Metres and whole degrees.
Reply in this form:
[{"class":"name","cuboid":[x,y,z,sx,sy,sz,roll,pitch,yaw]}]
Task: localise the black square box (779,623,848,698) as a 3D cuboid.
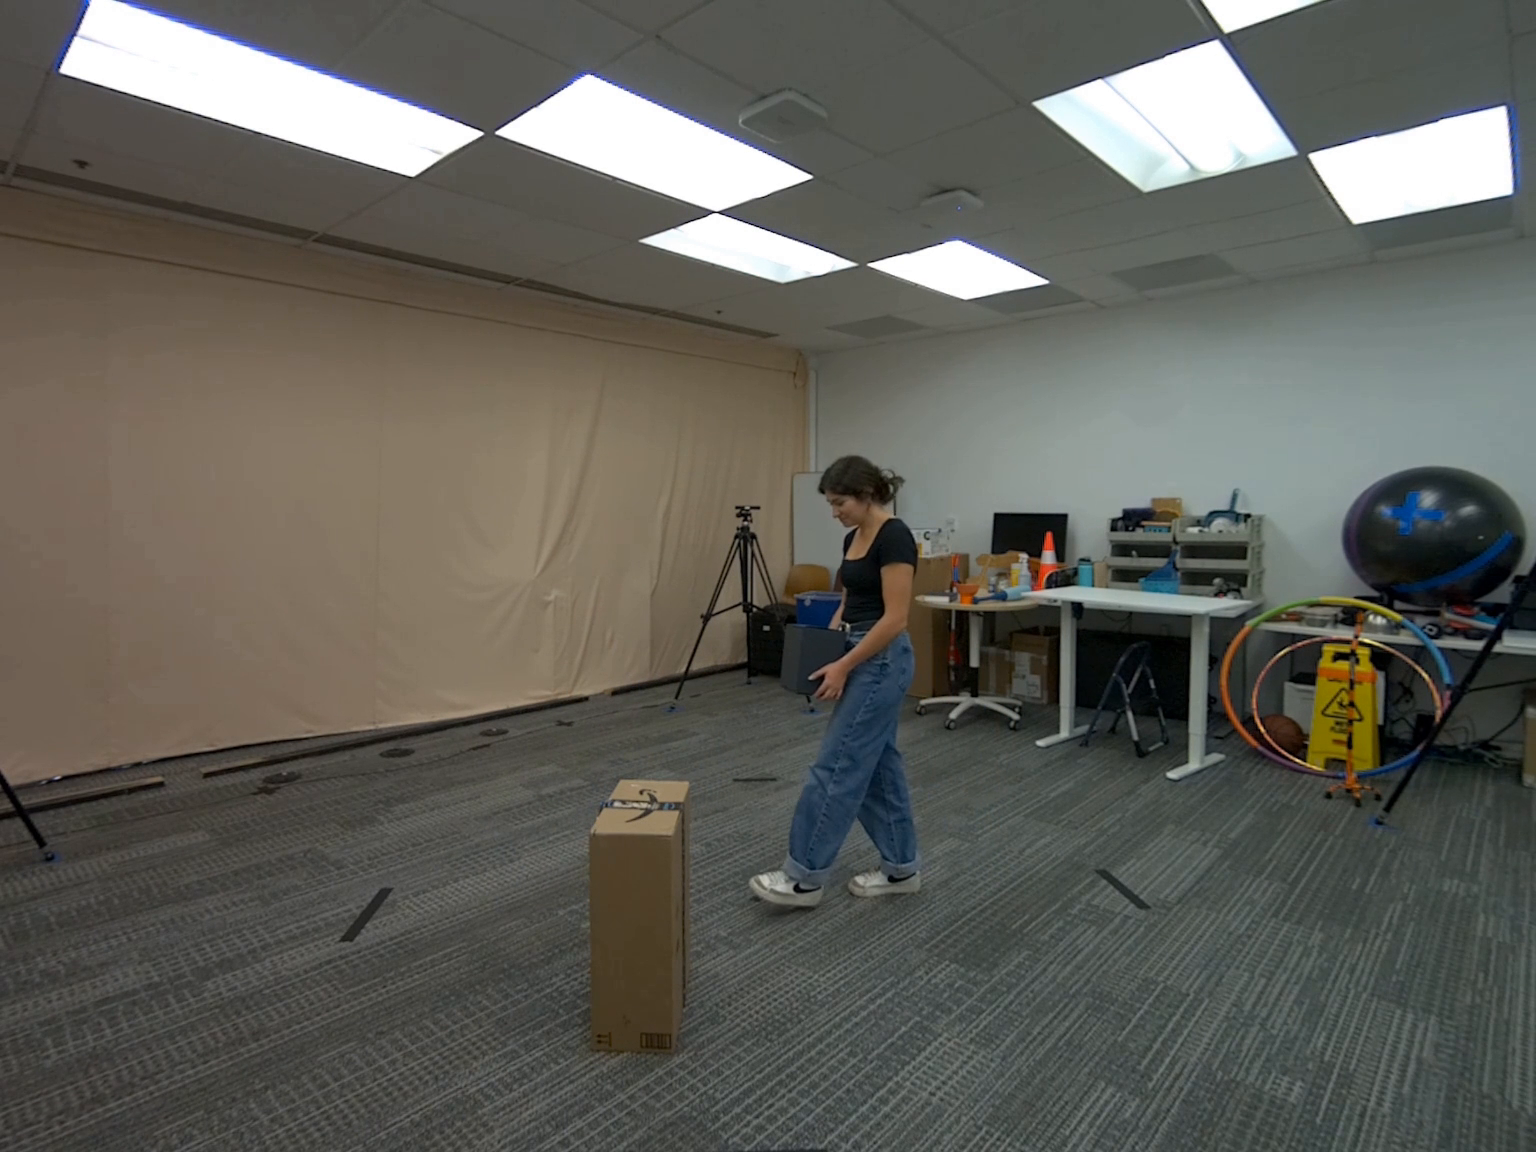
[{"class":"black square box","cuboid":[0.152,0.289,2.949,0.154,0.228,0.220,6,-2,-13]}]
